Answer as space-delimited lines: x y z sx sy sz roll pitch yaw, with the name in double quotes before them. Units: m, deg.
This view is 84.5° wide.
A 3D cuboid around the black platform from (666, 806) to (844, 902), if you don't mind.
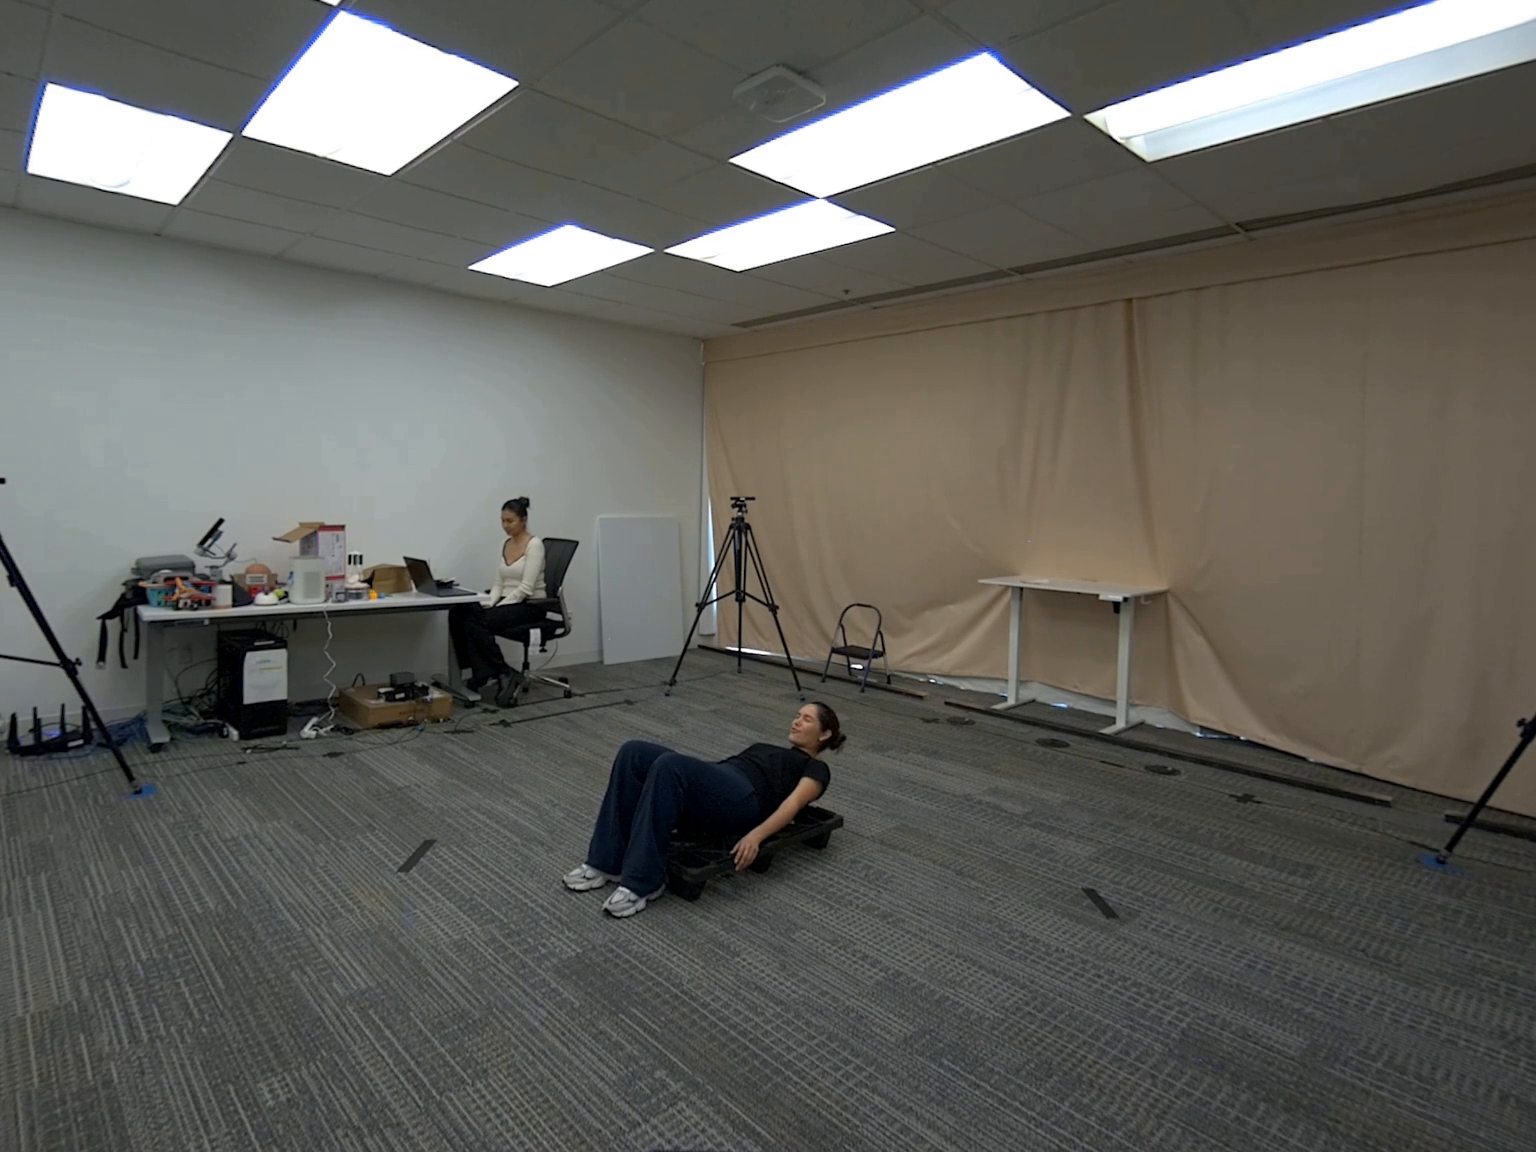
"black platform" -0.190 1.028 3.298 0.620 0.143 0.787 5 6 45
